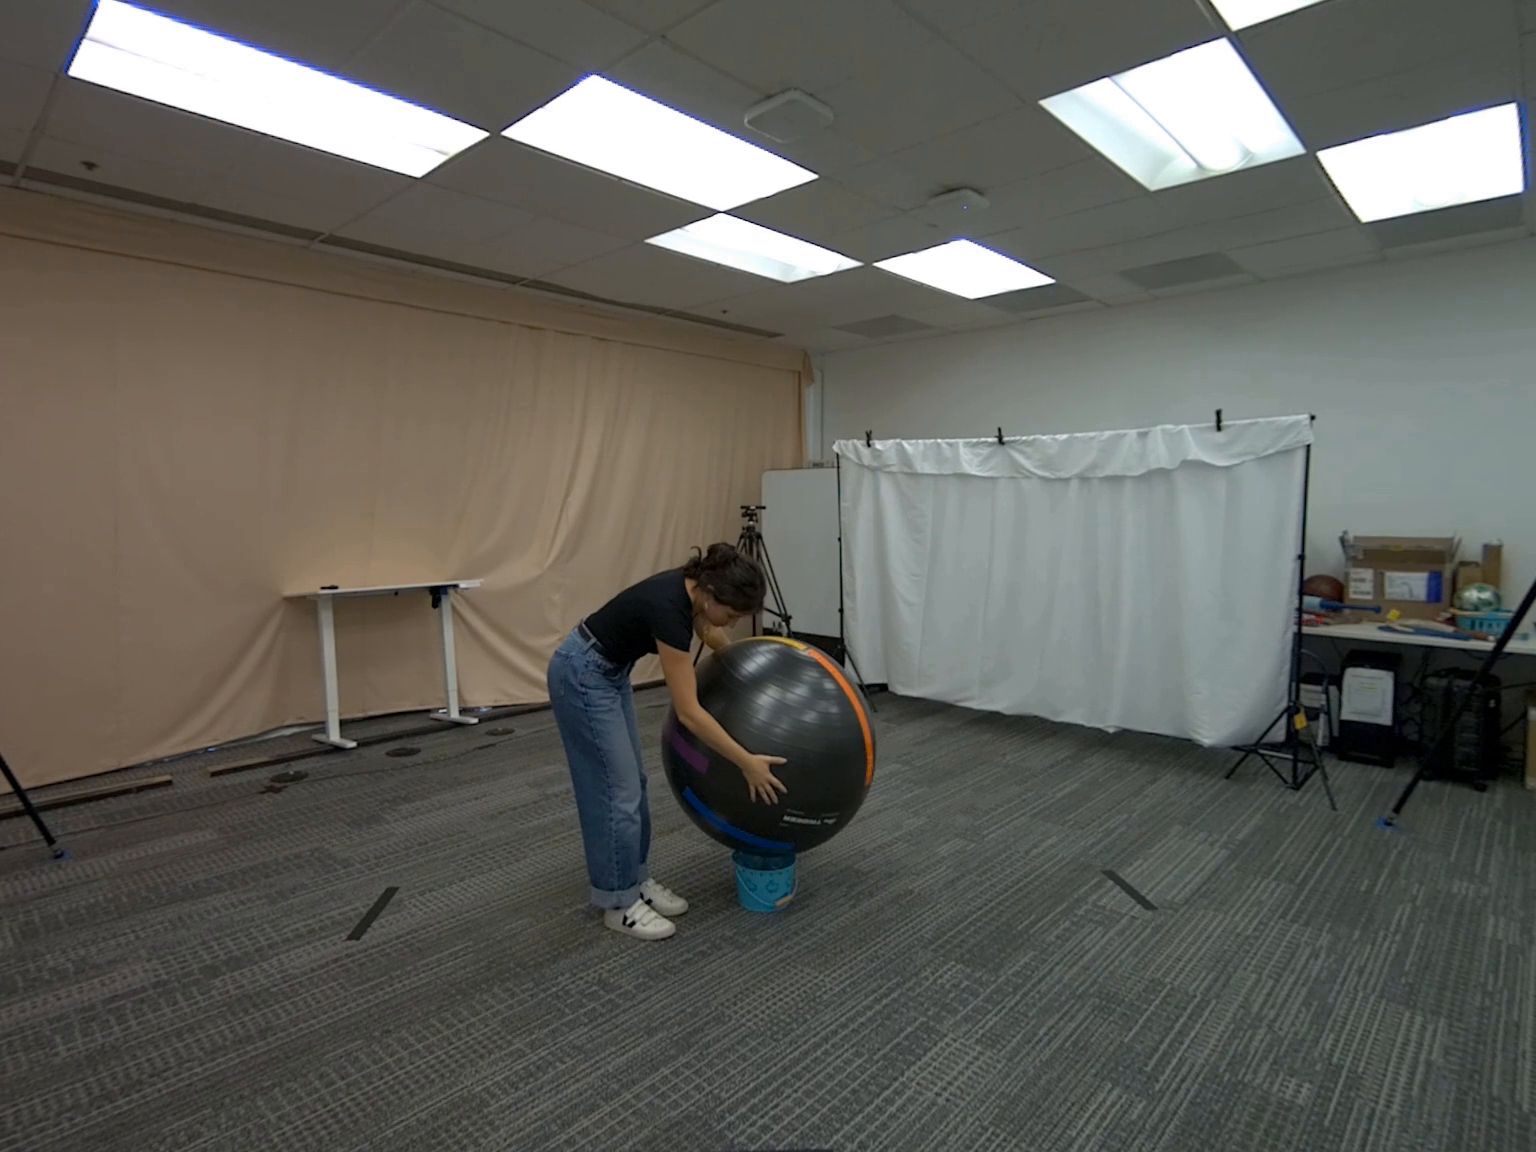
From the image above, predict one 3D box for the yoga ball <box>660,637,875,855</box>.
[{"bbox_3d":[0.011,0.592,3.012,0.757,0.756,0.760,0,4,-2],"label":"yoga ball"}]
